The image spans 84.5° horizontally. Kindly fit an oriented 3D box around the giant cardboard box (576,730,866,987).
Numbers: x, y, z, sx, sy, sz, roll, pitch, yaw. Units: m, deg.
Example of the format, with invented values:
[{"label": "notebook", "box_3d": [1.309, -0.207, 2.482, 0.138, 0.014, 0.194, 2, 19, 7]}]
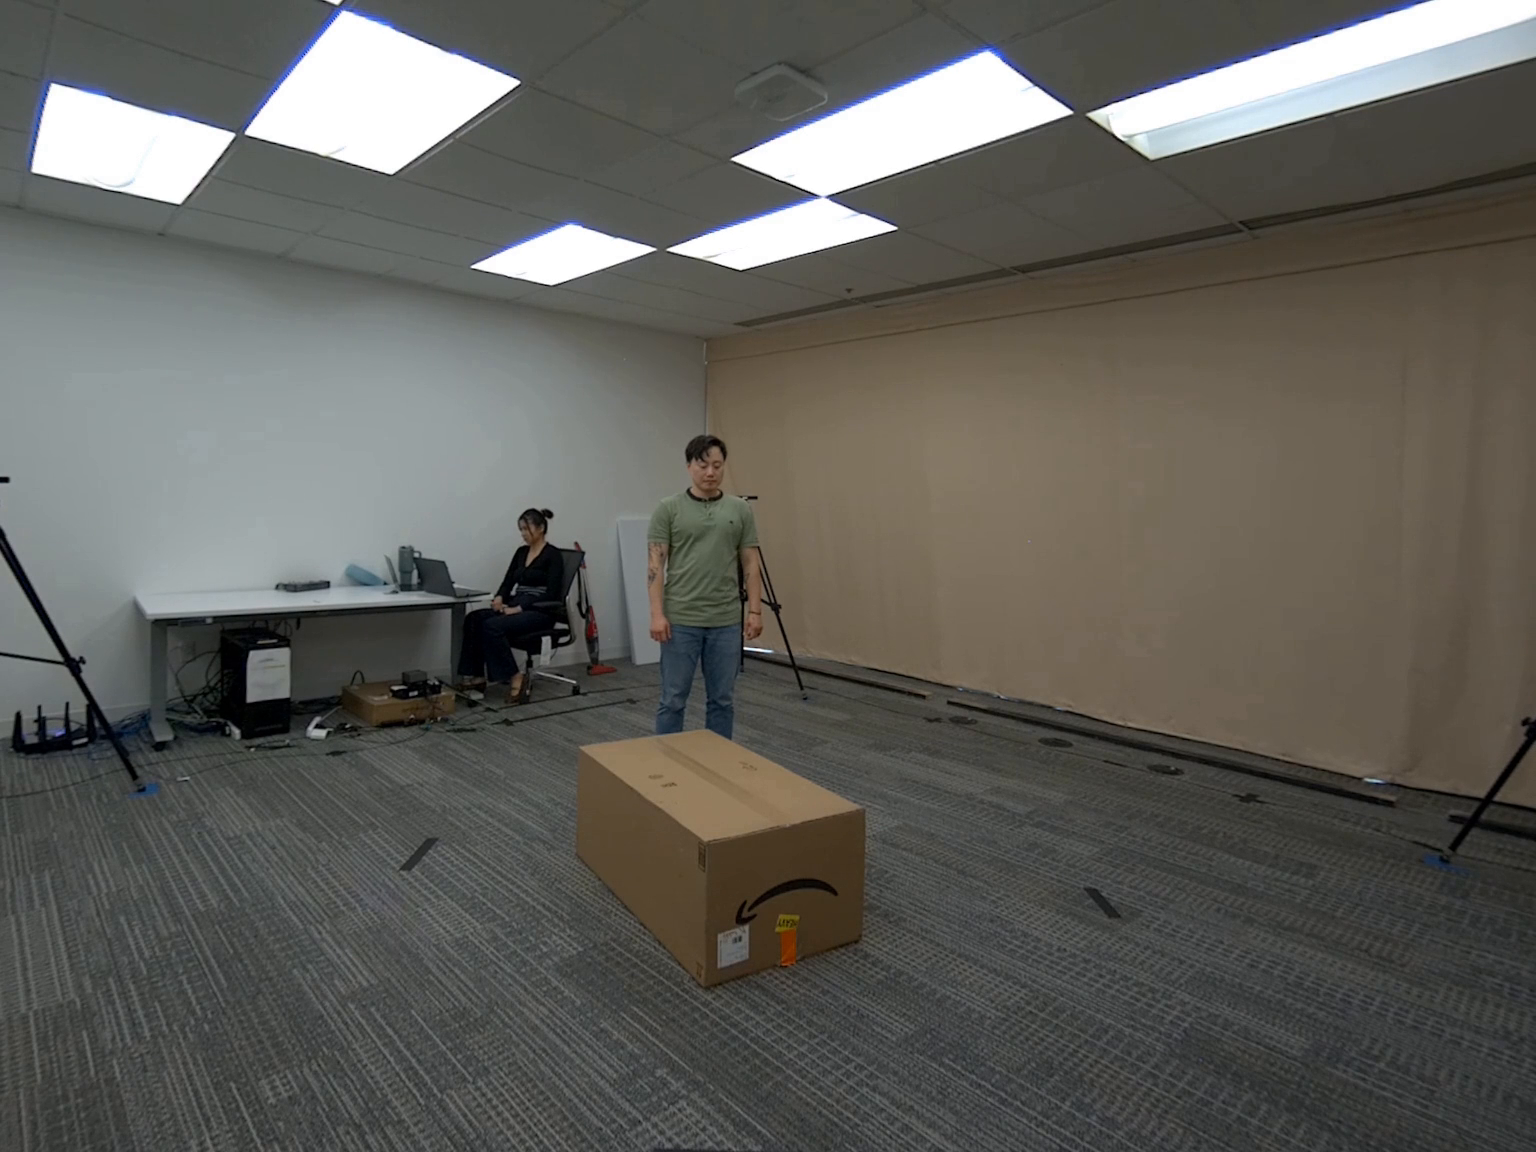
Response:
[{"label": "giant cardboard box", "box_3d": [-0.219, 0.905, 2.939, 0.565, 0.425, 1.050, -1, 6, -32]}]
